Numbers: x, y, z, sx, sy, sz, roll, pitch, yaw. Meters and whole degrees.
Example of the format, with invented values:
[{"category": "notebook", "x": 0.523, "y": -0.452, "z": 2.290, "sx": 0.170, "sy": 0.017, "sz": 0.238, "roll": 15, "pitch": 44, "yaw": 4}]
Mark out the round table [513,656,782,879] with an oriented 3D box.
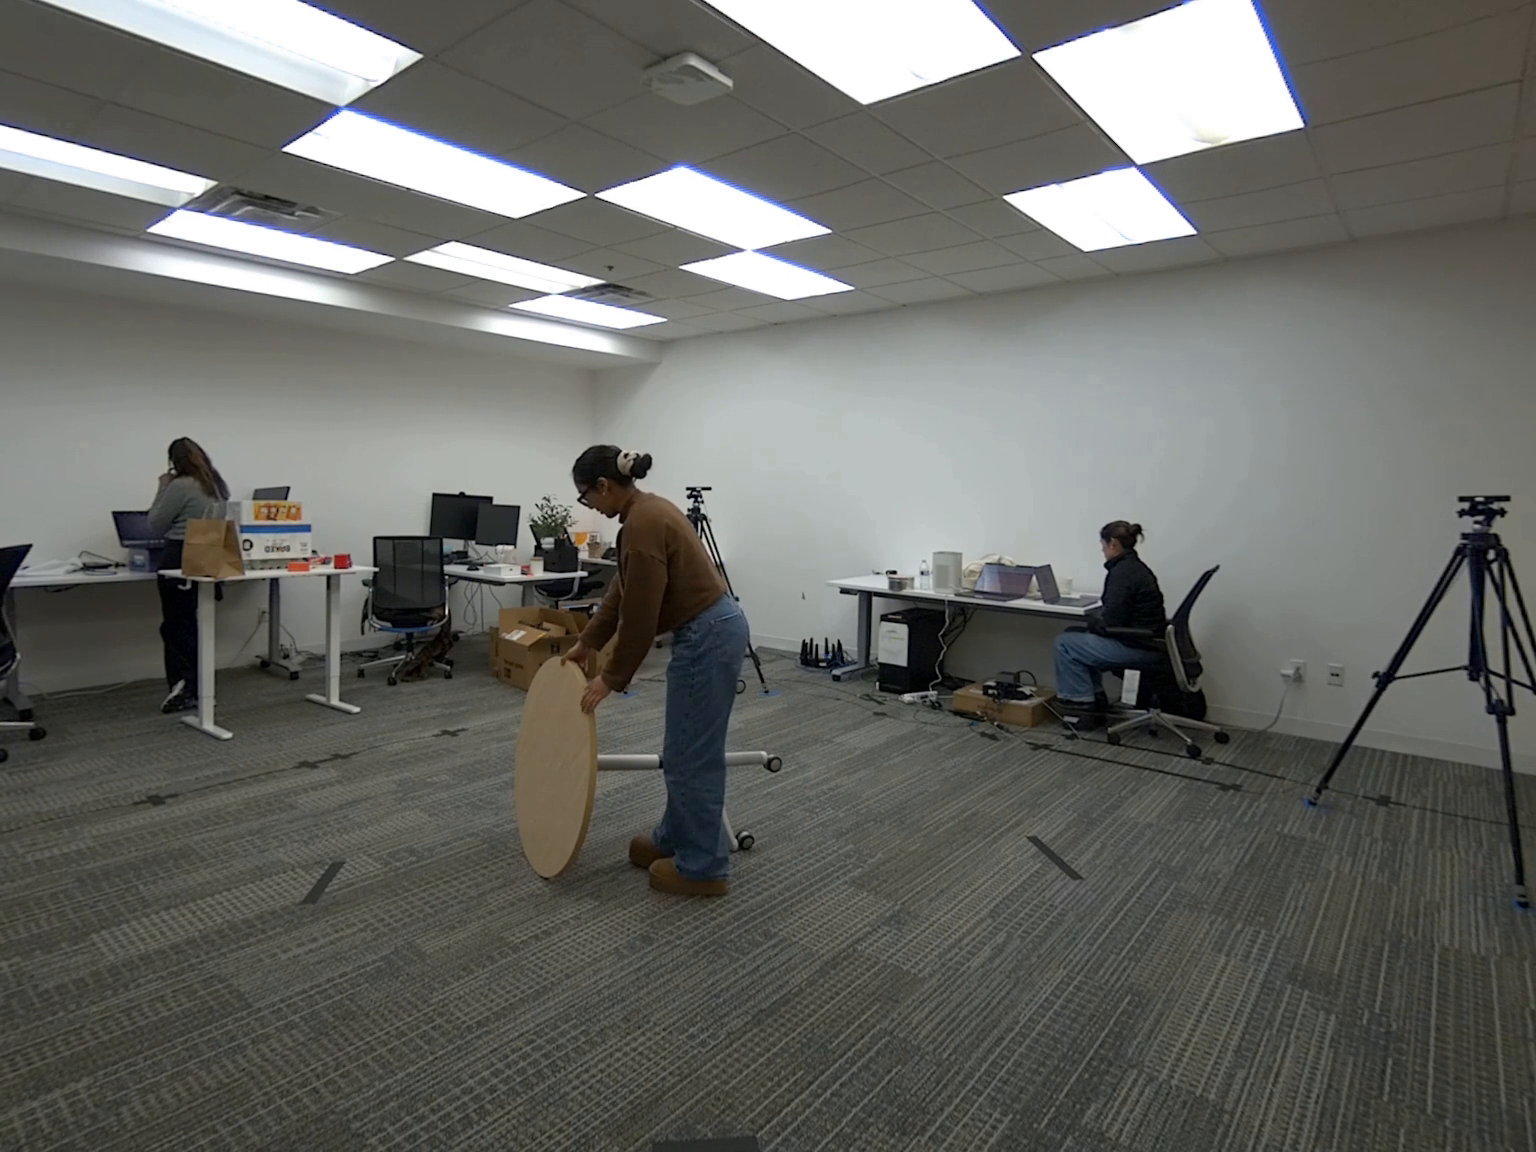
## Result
[{"category": "round table", "x": -0.482, "y": 0.713, "z": 3.277, "sx": 0.769, "sy": 0.764, "sz": 0.788, "roll": 7, "pitch": 0, "yaw": -32}]
